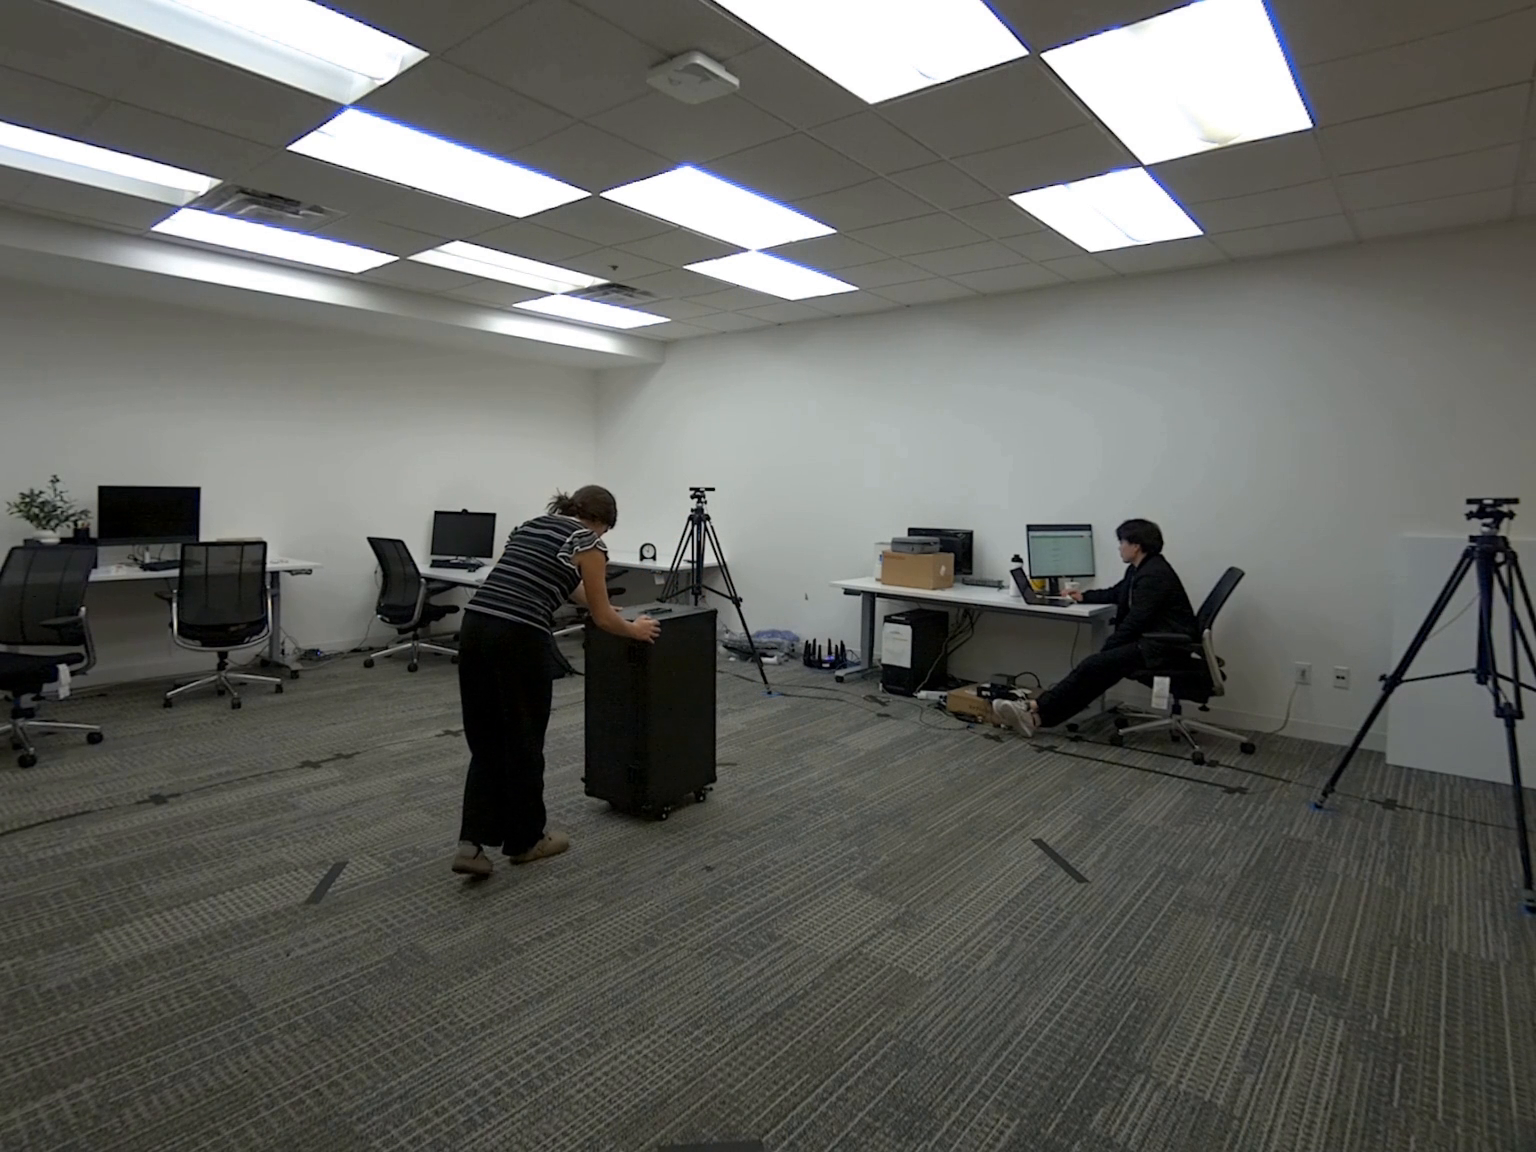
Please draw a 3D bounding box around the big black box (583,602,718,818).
[{"bbox_3d":[-0.532,0.580,3.722,0.408,0.859,0.507,1,4,34],"label":"big black box"}]
